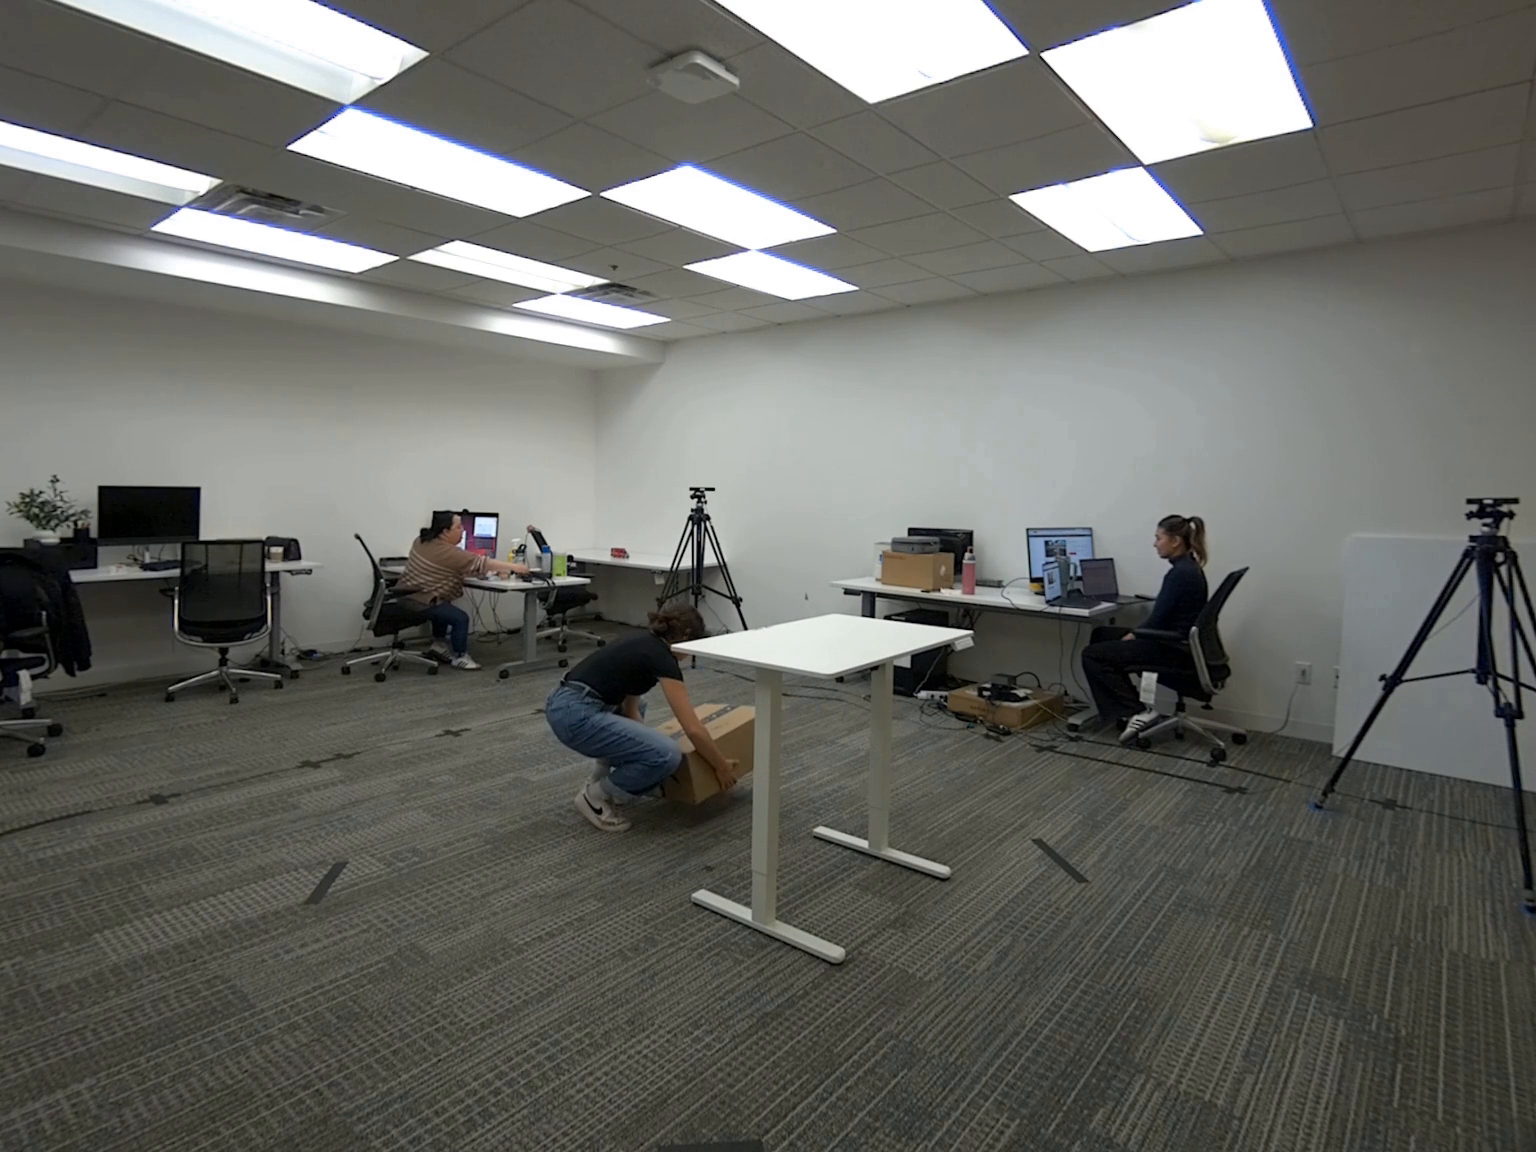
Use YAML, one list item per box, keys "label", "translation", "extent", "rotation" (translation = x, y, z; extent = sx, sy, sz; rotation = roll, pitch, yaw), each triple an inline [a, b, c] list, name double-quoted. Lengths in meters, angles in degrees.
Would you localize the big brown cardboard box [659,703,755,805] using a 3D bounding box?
- label: "big brown cardboard box"
  translation: [-0.311, 0.765, 3.753]
  extent: [0.430, 0.232, 0.575]
  rotation: [-3, 9, 40]
